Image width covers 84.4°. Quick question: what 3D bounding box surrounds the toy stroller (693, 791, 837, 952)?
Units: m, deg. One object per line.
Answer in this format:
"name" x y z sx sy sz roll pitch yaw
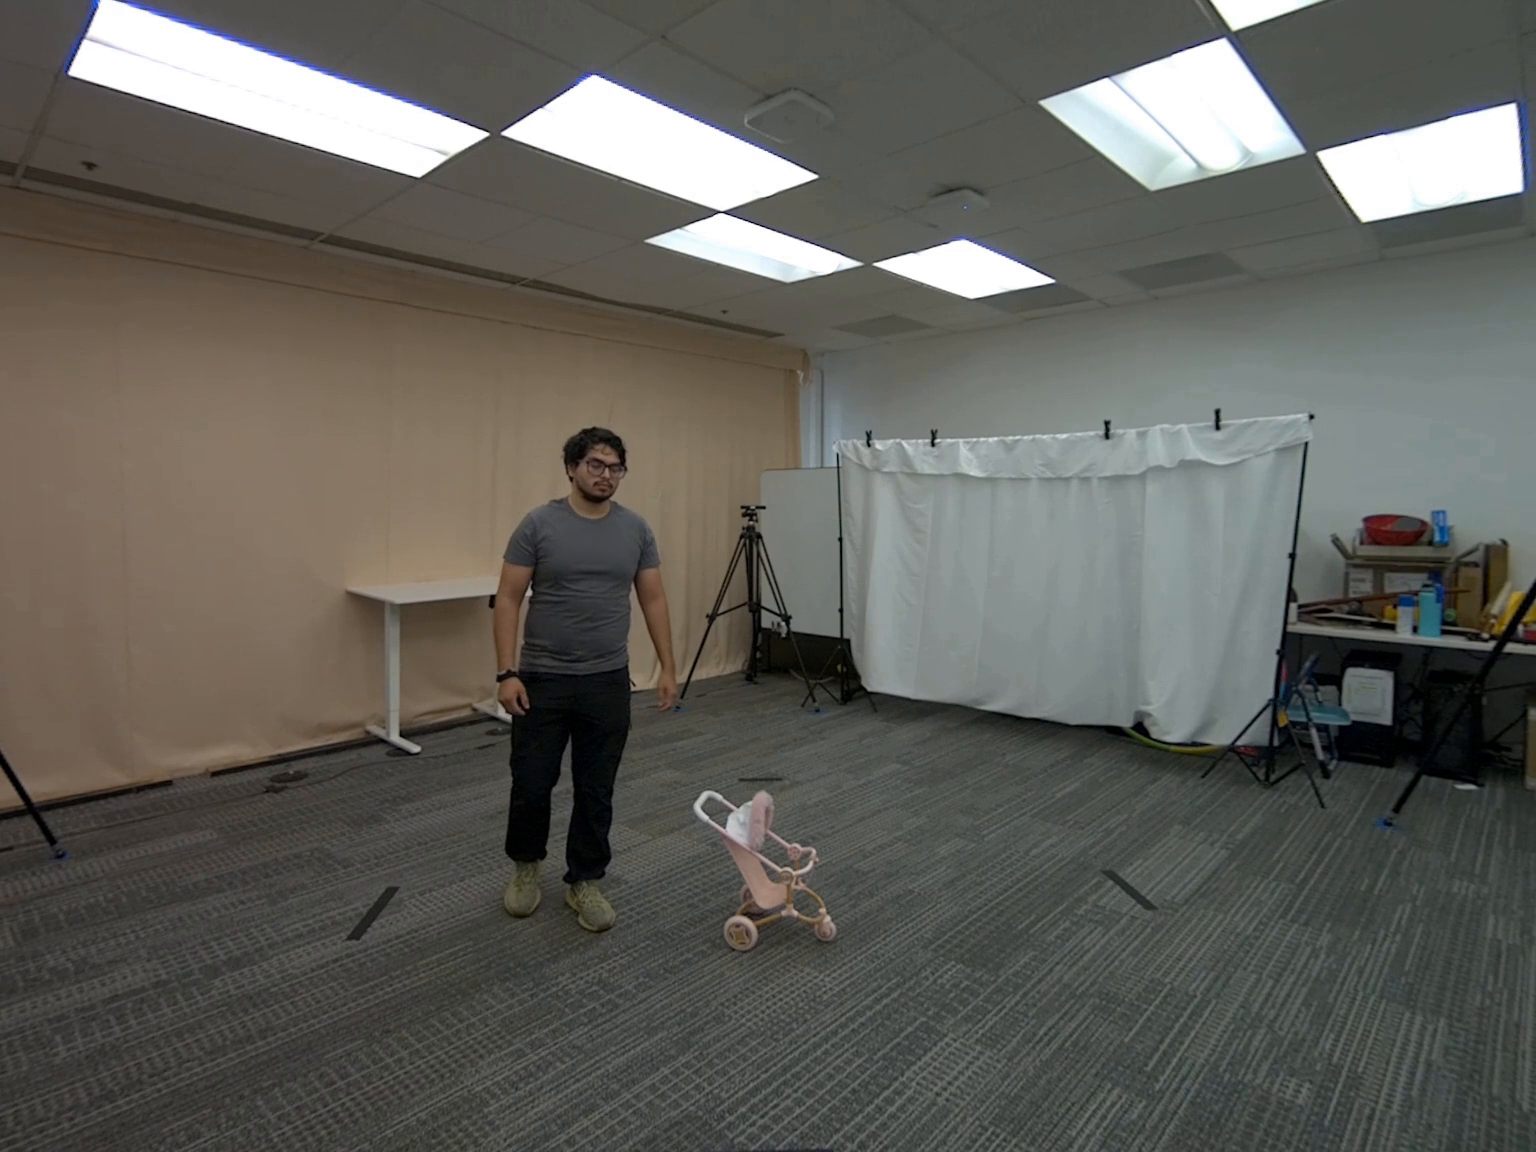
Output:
"toy stroller" 0.002 0.946 2.723 0.346 0.536 0.277 -16 -2 17
